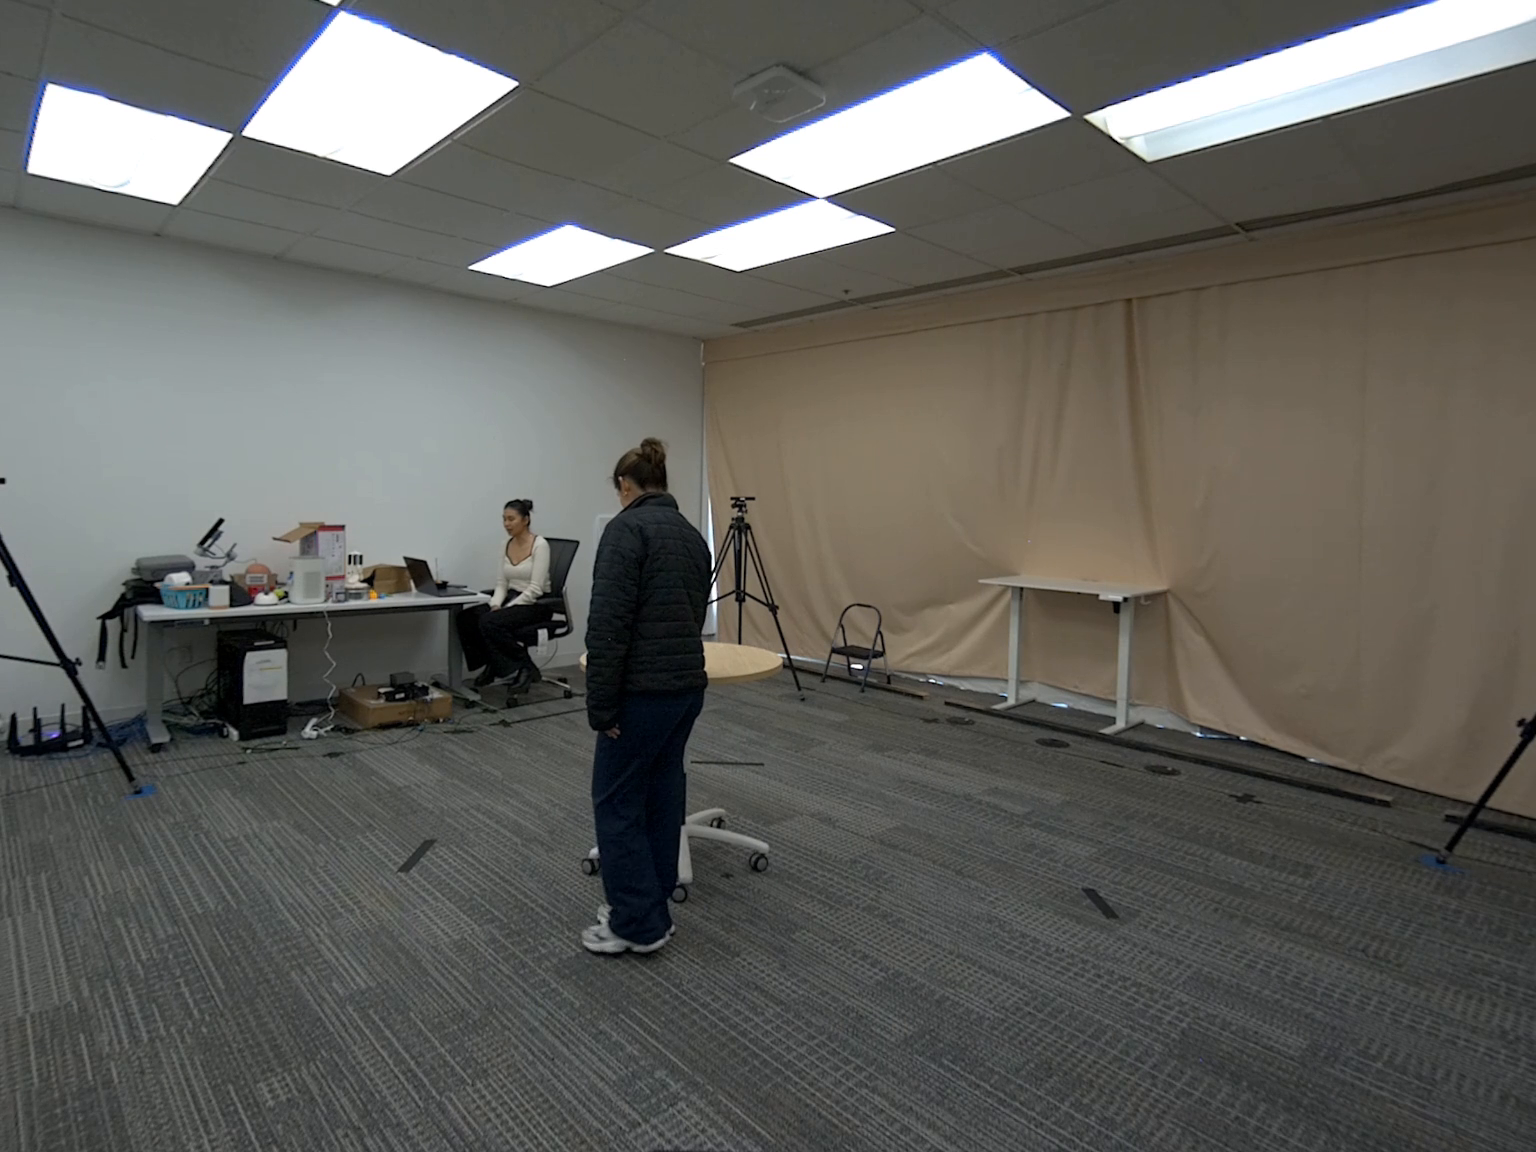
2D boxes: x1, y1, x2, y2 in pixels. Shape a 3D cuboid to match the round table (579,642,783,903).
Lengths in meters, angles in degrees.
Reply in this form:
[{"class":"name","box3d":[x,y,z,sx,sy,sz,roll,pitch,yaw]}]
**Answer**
[{"class":"round table","box3d":[-0.329,0.702,3.214,0.784,0.784,0.788,1,4,-1]}]
